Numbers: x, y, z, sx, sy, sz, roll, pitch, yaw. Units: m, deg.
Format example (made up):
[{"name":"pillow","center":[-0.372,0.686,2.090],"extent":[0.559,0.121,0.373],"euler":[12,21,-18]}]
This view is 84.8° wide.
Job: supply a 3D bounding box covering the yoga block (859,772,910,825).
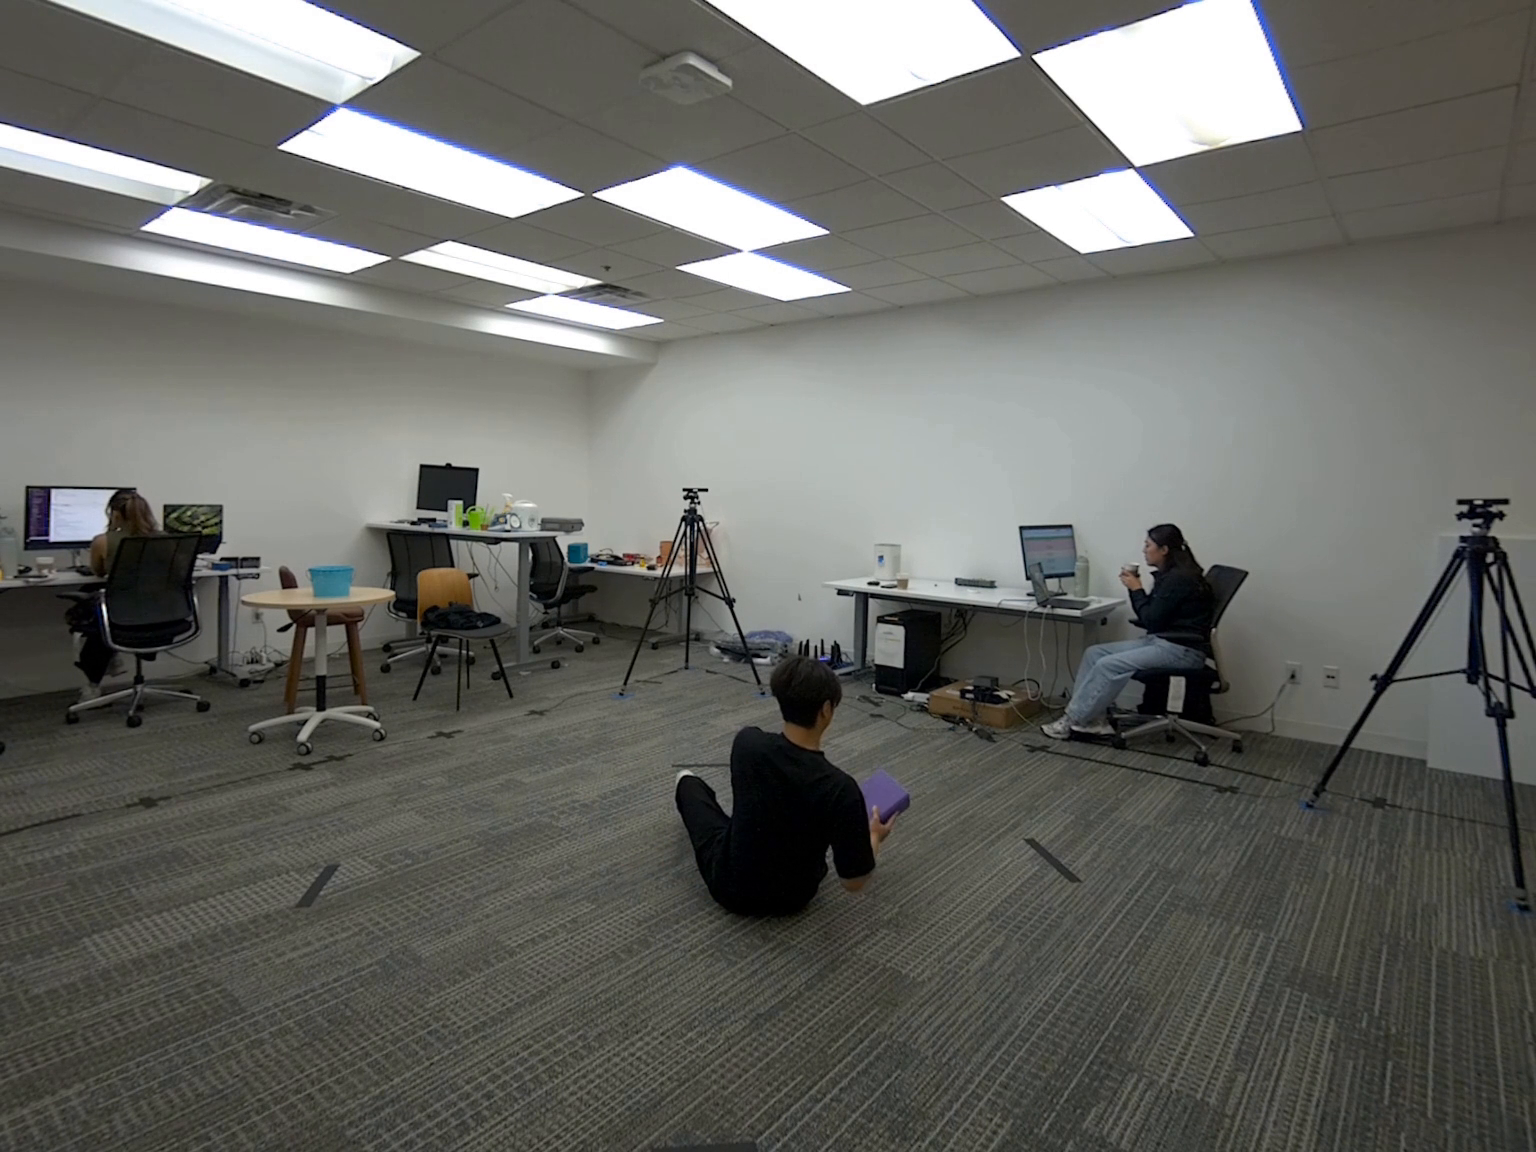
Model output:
[{"name":"yoga block","center":[0.361,0.797,2.950],"extent":[0.227,0.074,0.155],"euler":[-33,43,-29]}]
